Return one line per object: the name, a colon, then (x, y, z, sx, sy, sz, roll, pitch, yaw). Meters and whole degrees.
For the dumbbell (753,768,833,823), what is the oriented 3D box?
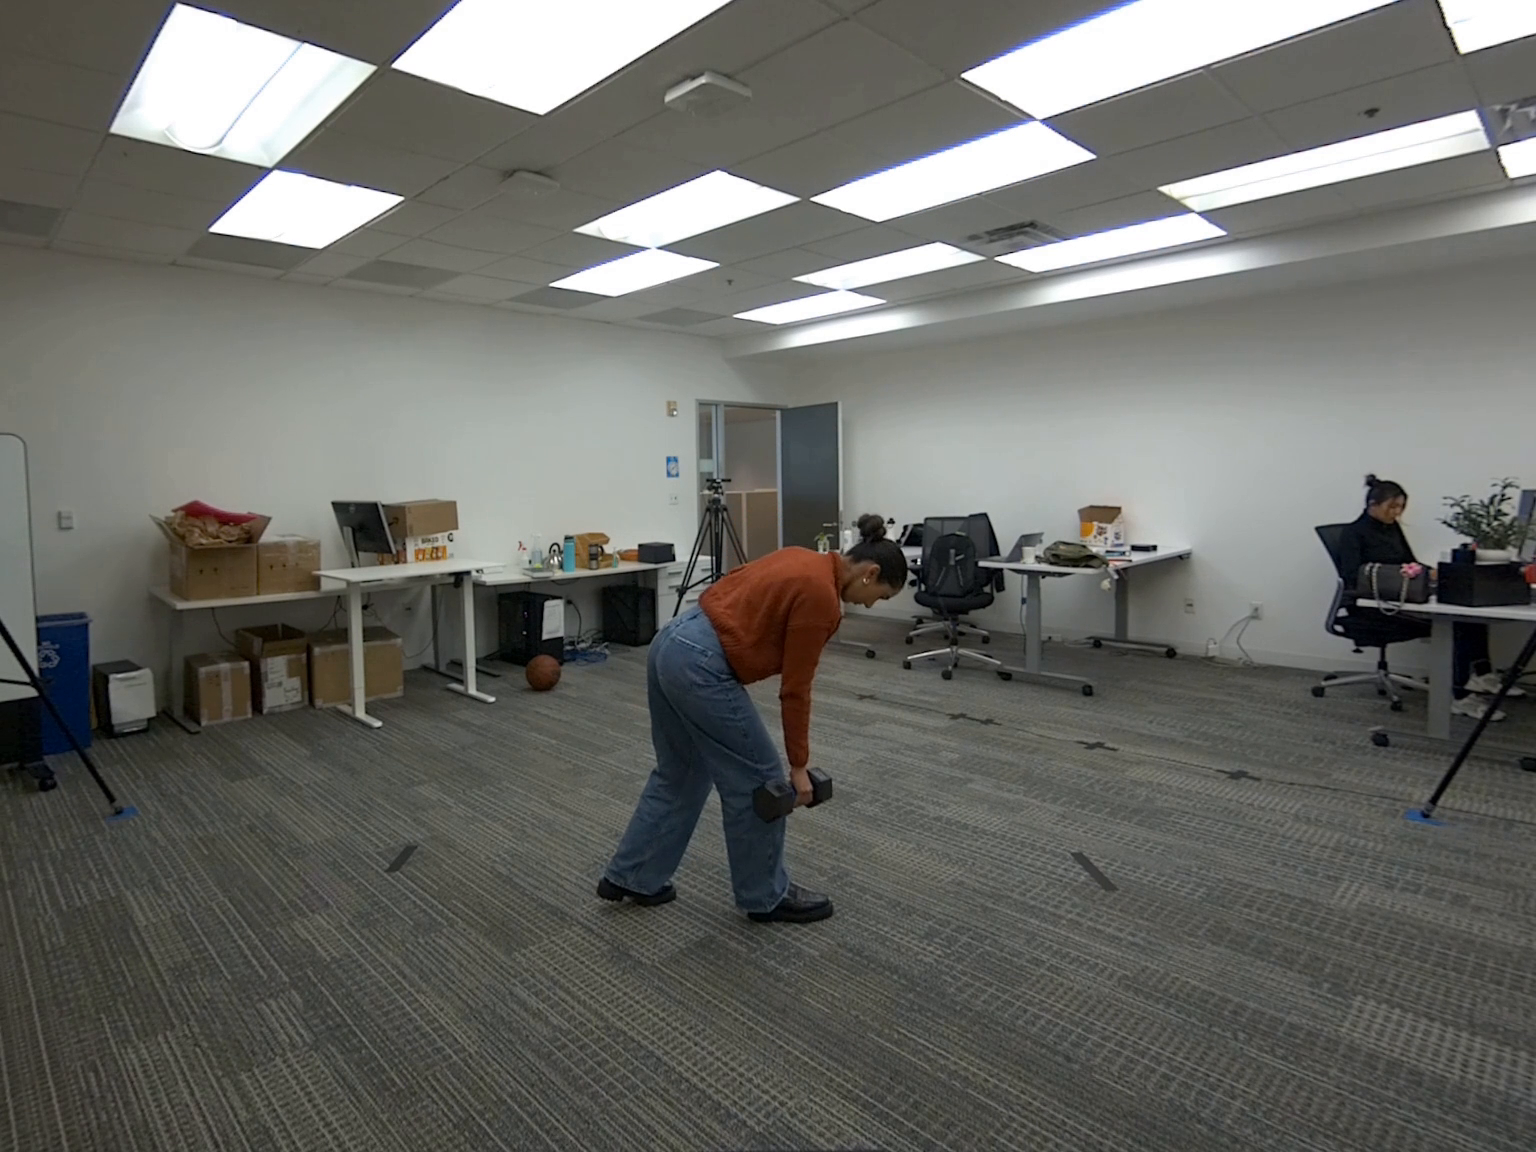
dumbbell: (0.080, 0.670, 2.614, 0.111, 0.123, 0.285, -5, -2, 40)
